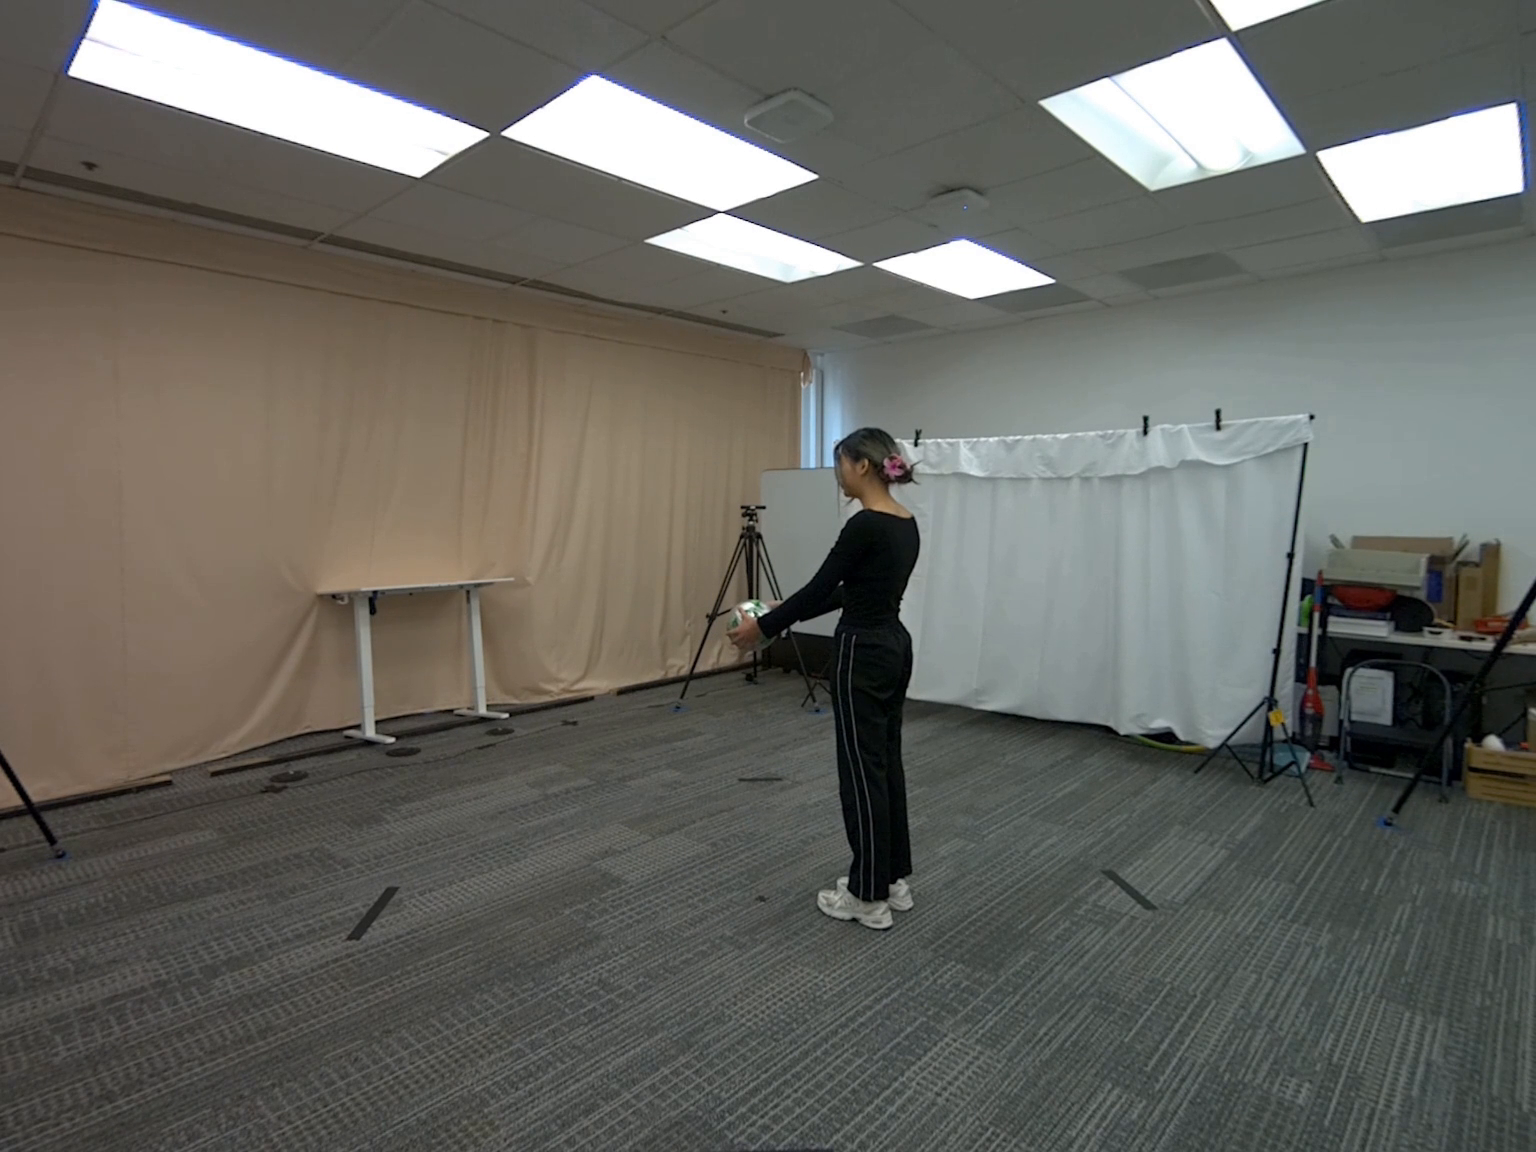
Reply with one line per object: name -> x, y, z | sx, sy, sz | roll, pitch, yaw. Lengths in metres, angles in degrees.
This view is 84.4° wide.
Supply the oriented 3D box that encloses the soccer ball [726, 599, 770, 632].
soccer ball -> -0.048, 0.177, 3.035 | 0.187, 0.187, 0.188 | 0, 4, -2
